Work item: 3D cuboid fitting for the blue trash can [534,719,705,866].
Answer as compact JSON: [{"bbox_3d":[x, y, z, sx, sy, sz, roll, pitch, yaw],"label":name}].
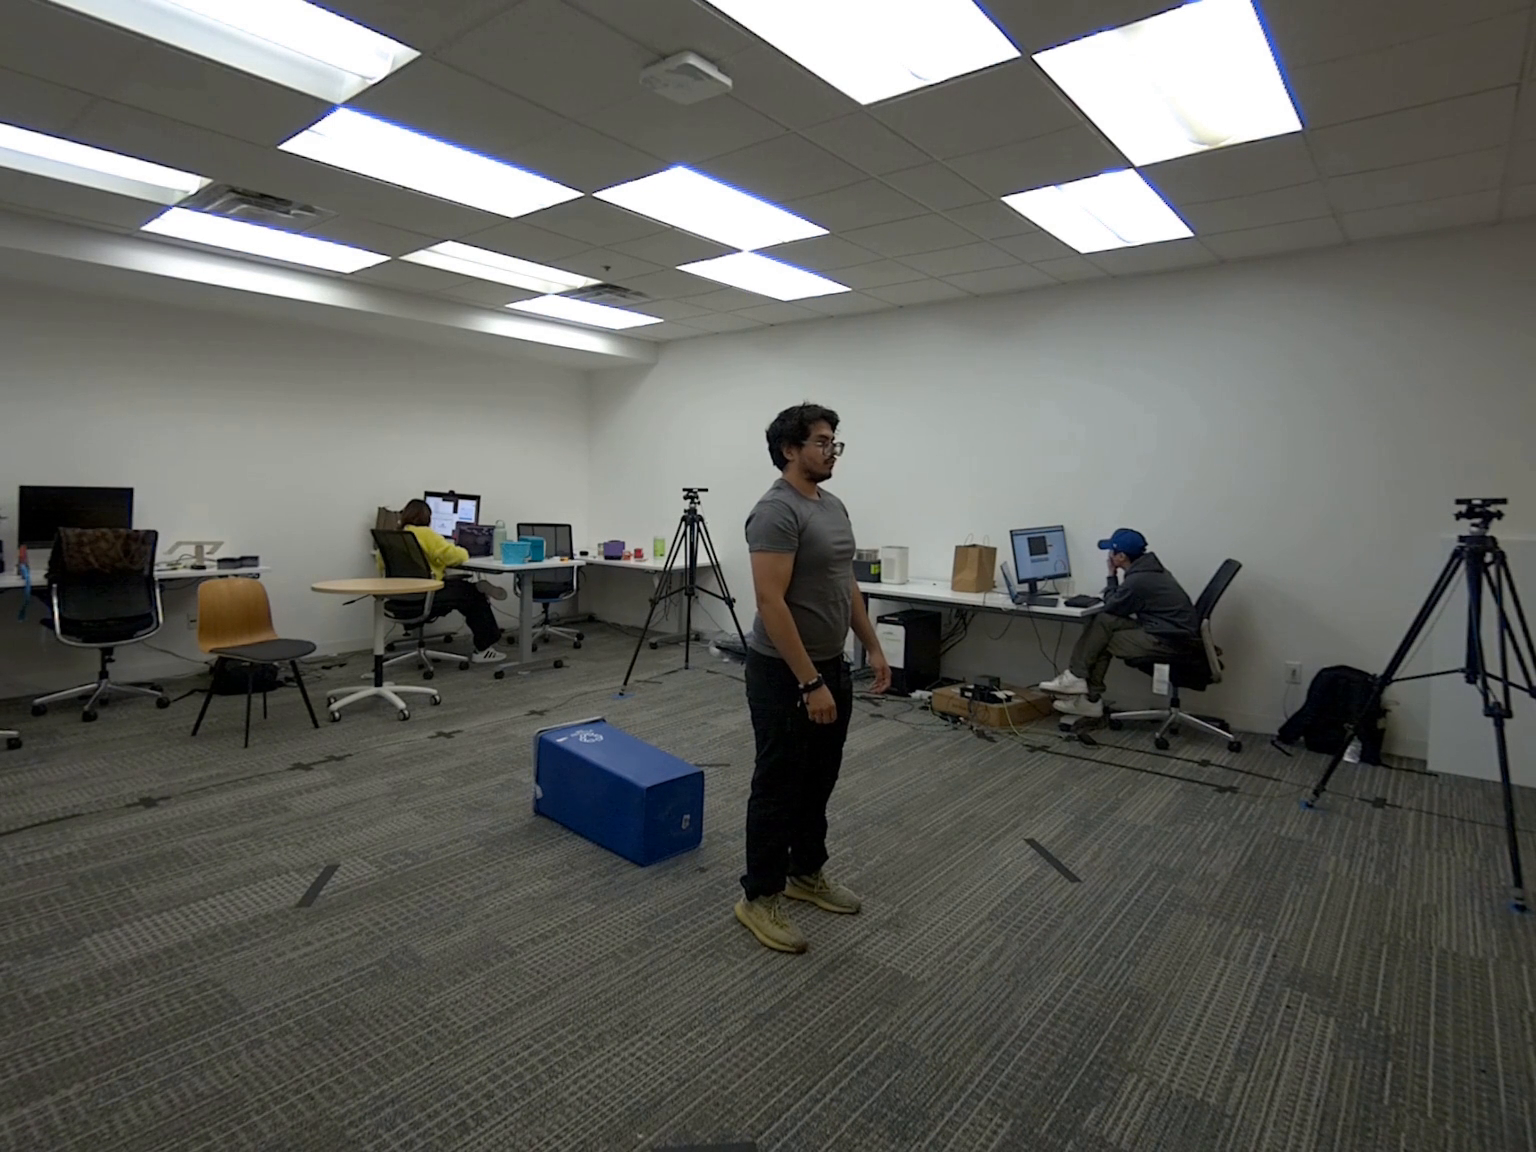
[{"bbox_3d":[-0.622,0.851,3.452,0.739,0.372,0.366,8,8,44],"label":"blue trash can"}]
